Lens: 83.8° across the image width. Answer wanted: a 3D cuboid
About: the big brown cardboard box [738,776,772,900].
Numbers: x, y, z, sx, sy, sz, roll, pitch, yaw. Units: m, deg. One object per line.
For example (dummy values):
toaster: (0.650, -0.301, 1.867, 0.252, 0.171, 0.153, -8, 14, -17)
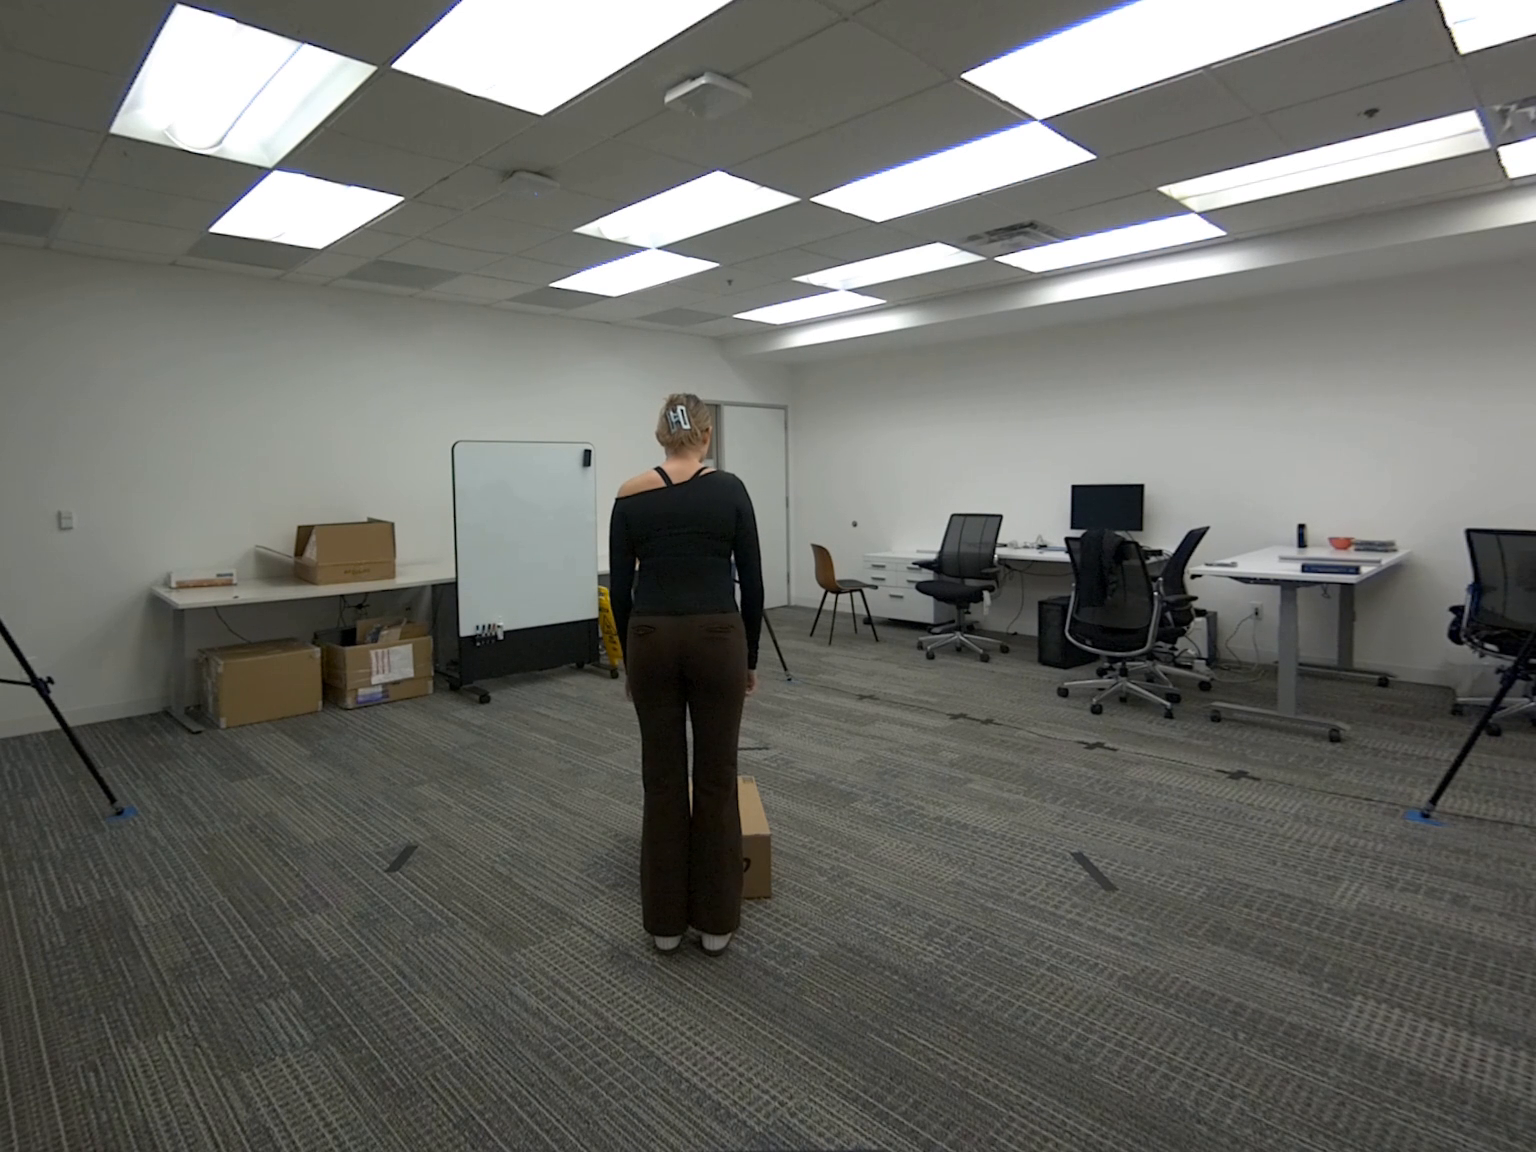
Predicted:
big brown cardboard box: (-0.222, 0.934, 3.111, 0.415, 0.232, 0.595, -1, 7, -6)
